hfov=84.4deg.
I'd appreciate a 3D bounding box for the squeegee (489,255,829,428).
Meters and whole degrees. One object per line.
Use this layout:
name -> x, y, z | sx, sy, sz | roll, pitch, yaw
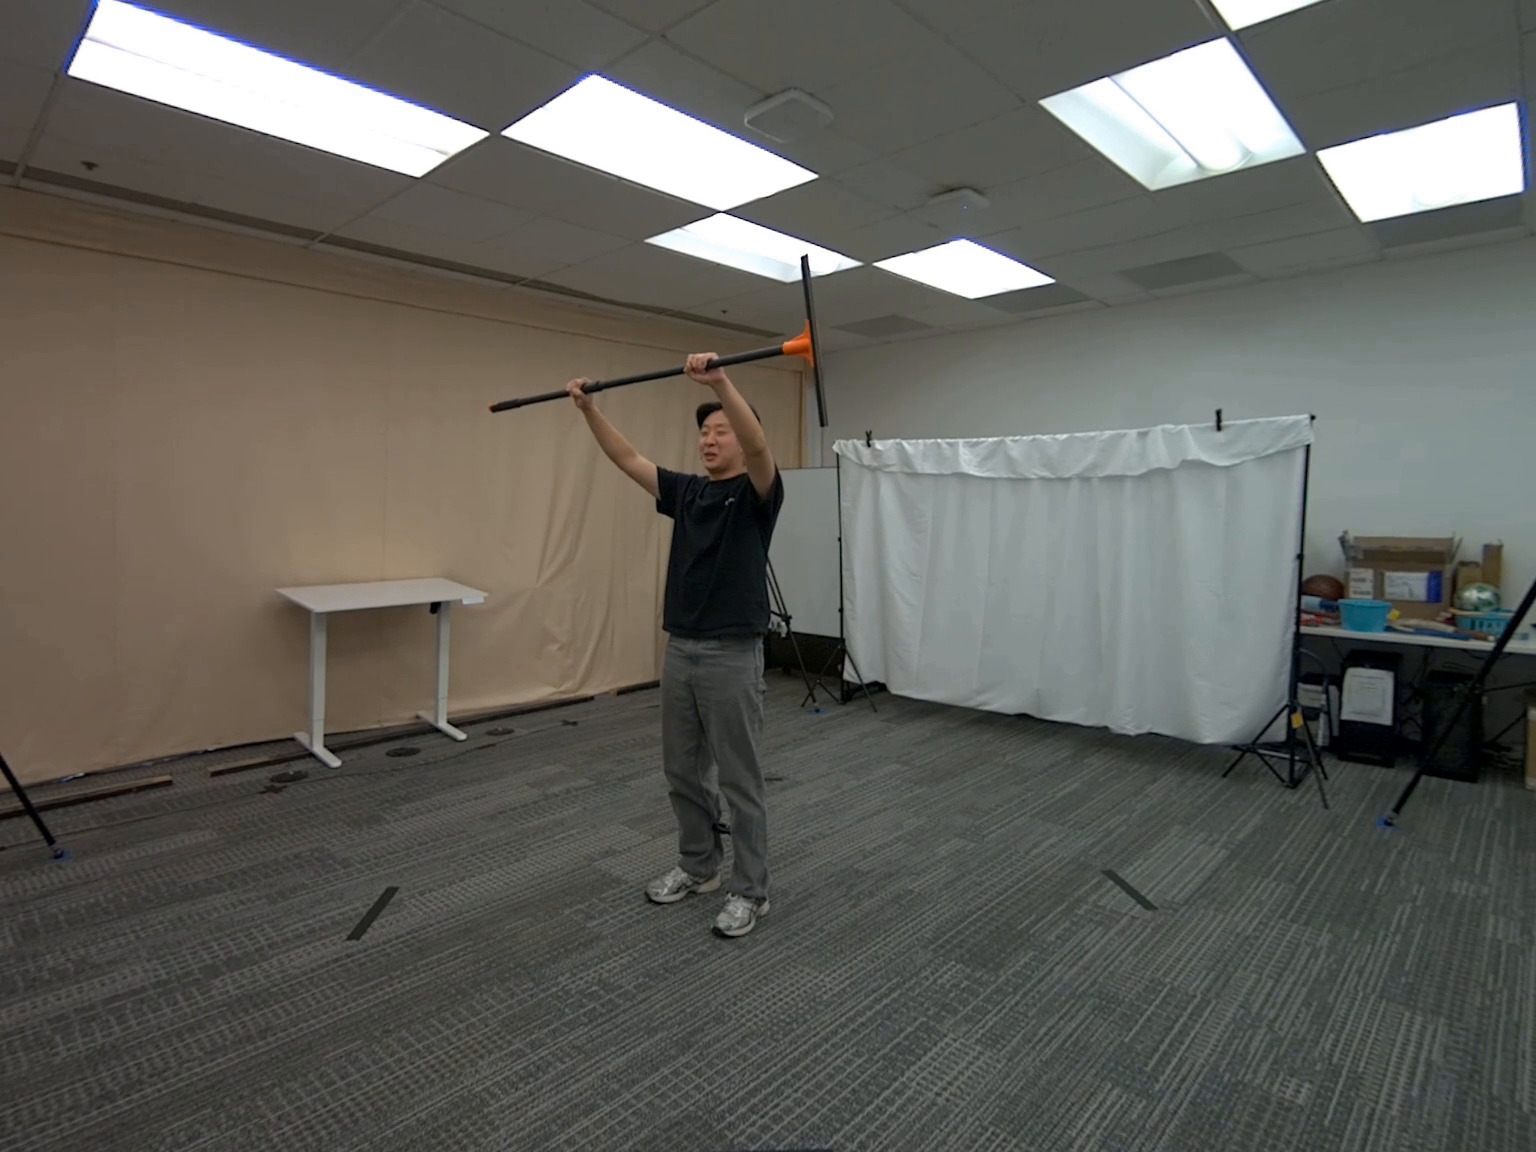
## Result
squeegee -> -0.452, -0.612, 2.654 | 1.587, 0.434, 0.051 | 1, 12, 42
